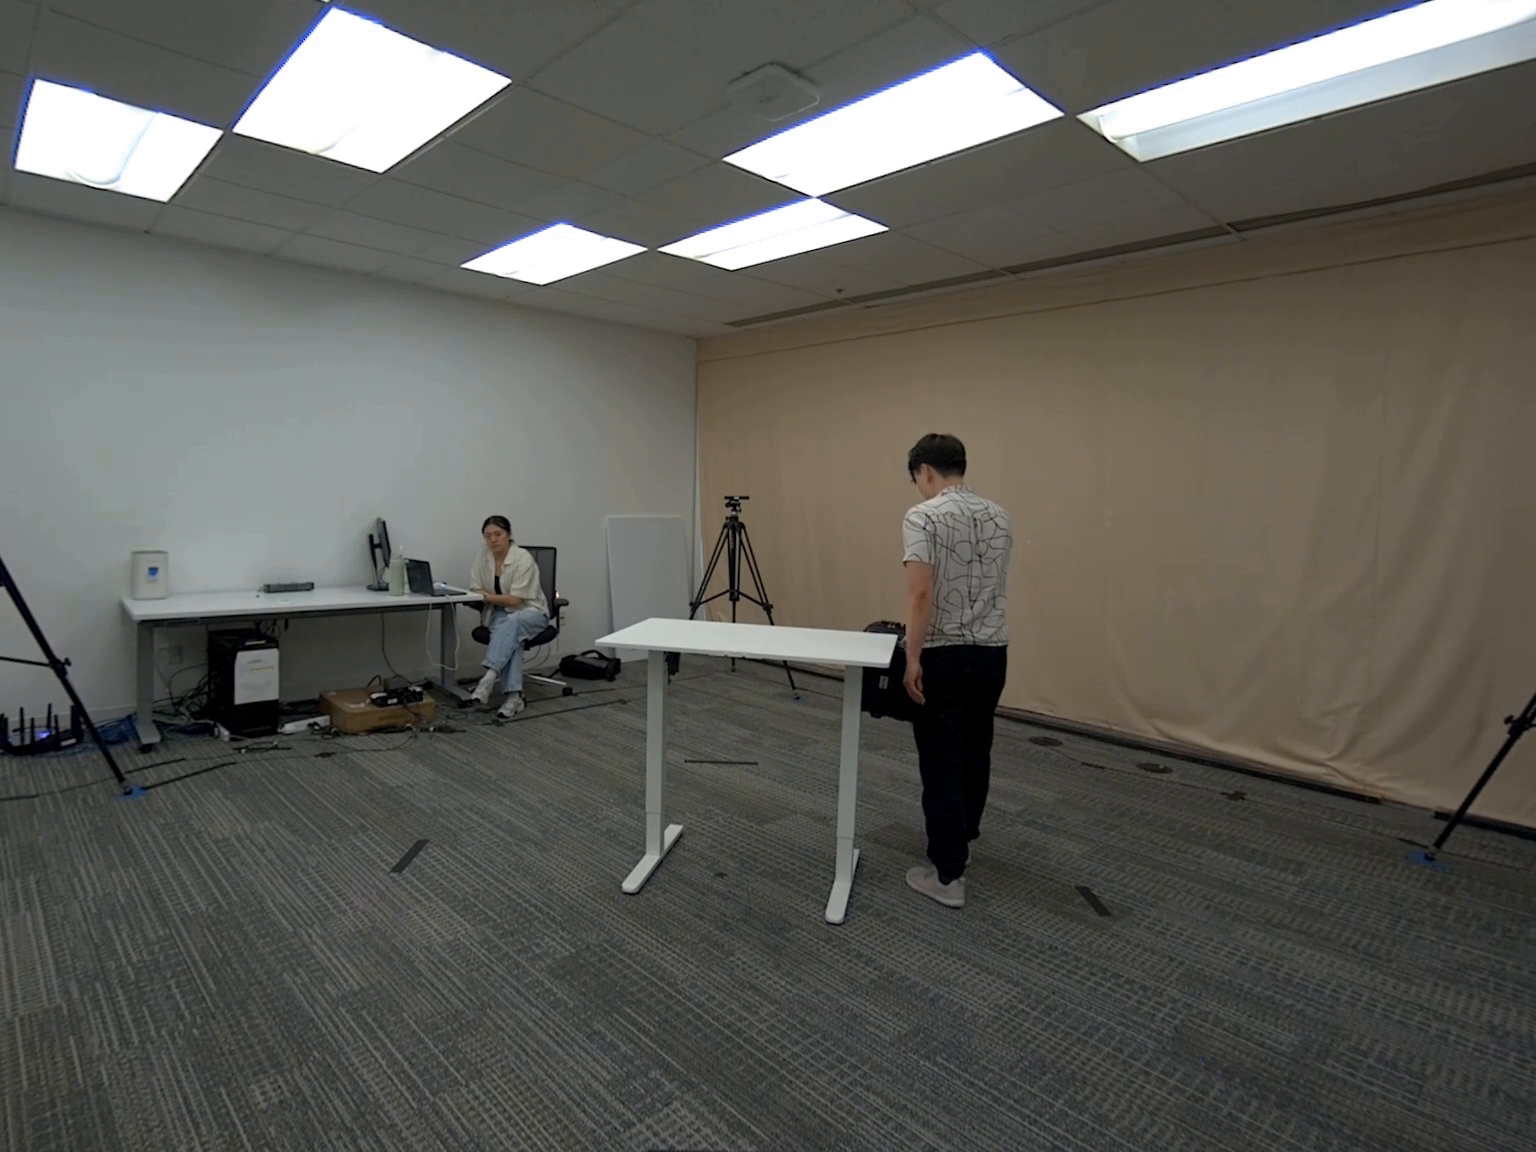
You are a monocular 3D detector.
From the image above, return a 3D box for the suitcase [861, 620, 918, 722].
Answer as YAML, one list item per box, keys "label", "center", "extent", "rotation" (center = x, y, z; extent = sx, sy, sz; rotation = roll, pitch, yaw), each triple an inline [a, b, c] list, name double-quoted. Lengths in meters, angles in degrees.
- label: "suitcase"
  center: [0.631, 0.409, 3.471]
  extent: [0.557, 0.372, 0.247]
  rotation: [12, 14, 15]
